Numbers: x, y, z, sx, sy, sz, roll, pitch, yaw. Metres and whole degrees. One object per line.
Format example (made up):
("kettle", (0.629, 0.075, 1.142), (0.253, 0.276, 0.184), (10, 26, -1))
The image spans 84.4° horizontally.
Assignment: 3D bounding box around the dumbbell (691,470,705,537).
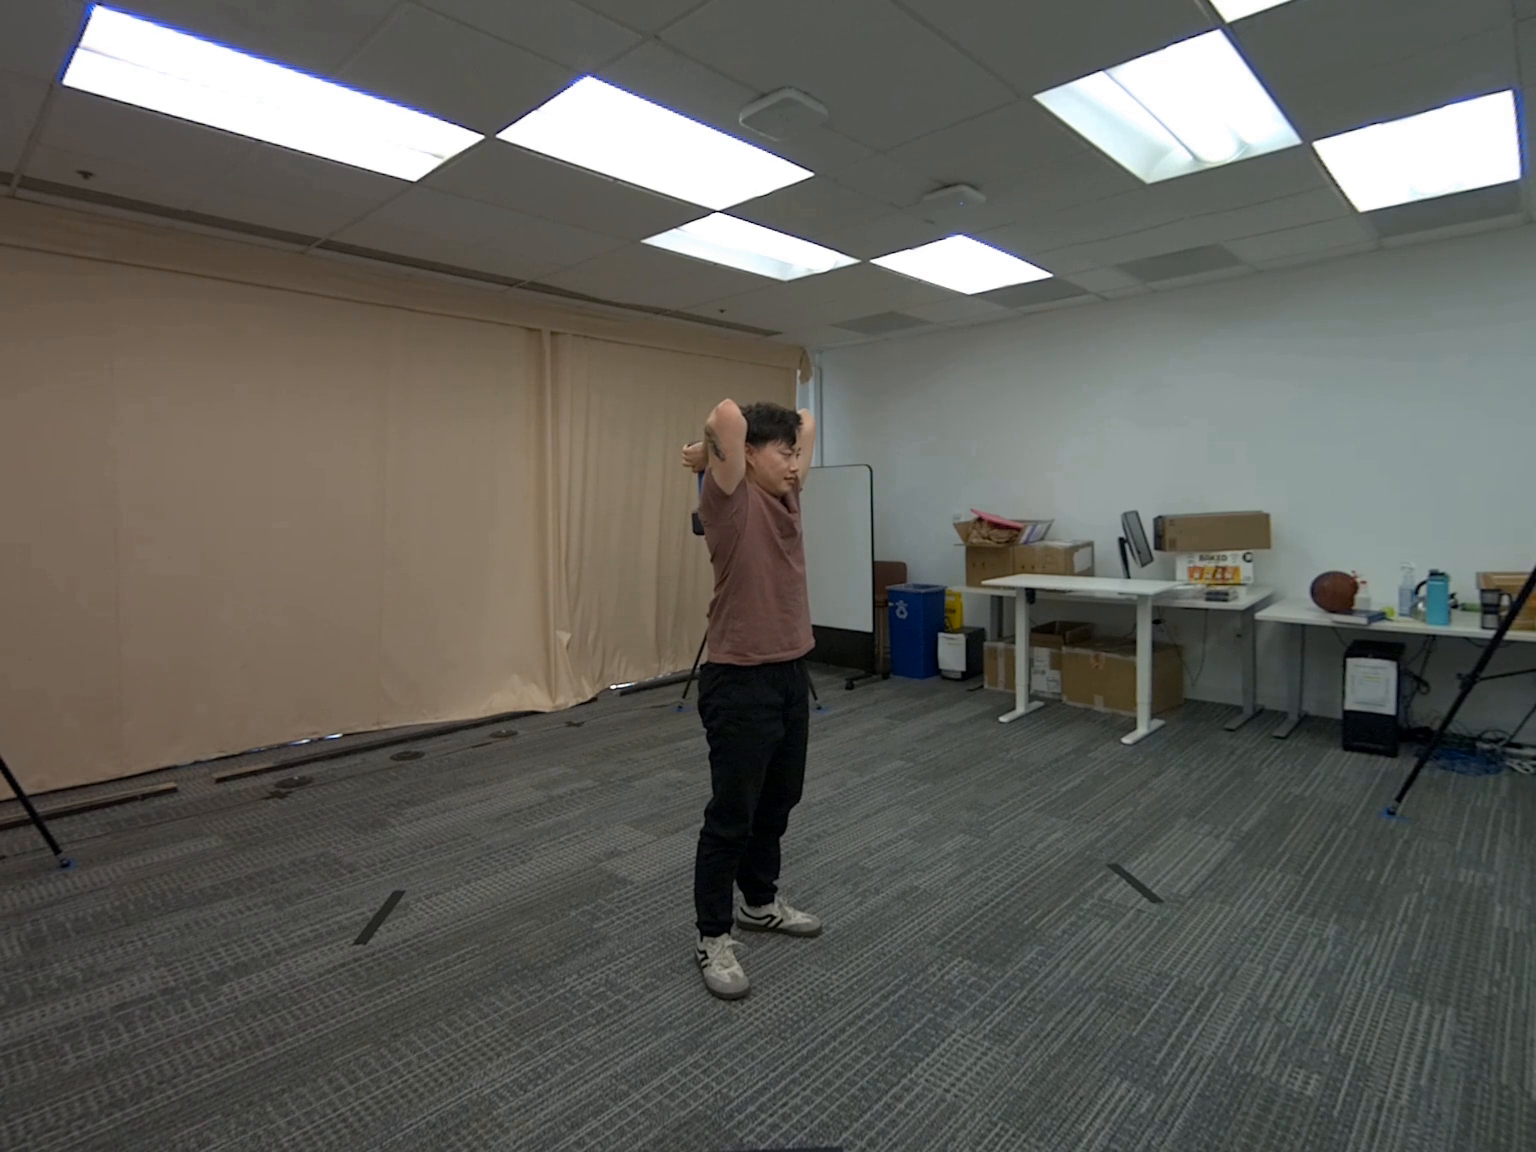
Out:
("dumbbell", (-0.182, -0.278, 2.636), (0.126, 0.293, 0.106), (-6, 3, 30))
